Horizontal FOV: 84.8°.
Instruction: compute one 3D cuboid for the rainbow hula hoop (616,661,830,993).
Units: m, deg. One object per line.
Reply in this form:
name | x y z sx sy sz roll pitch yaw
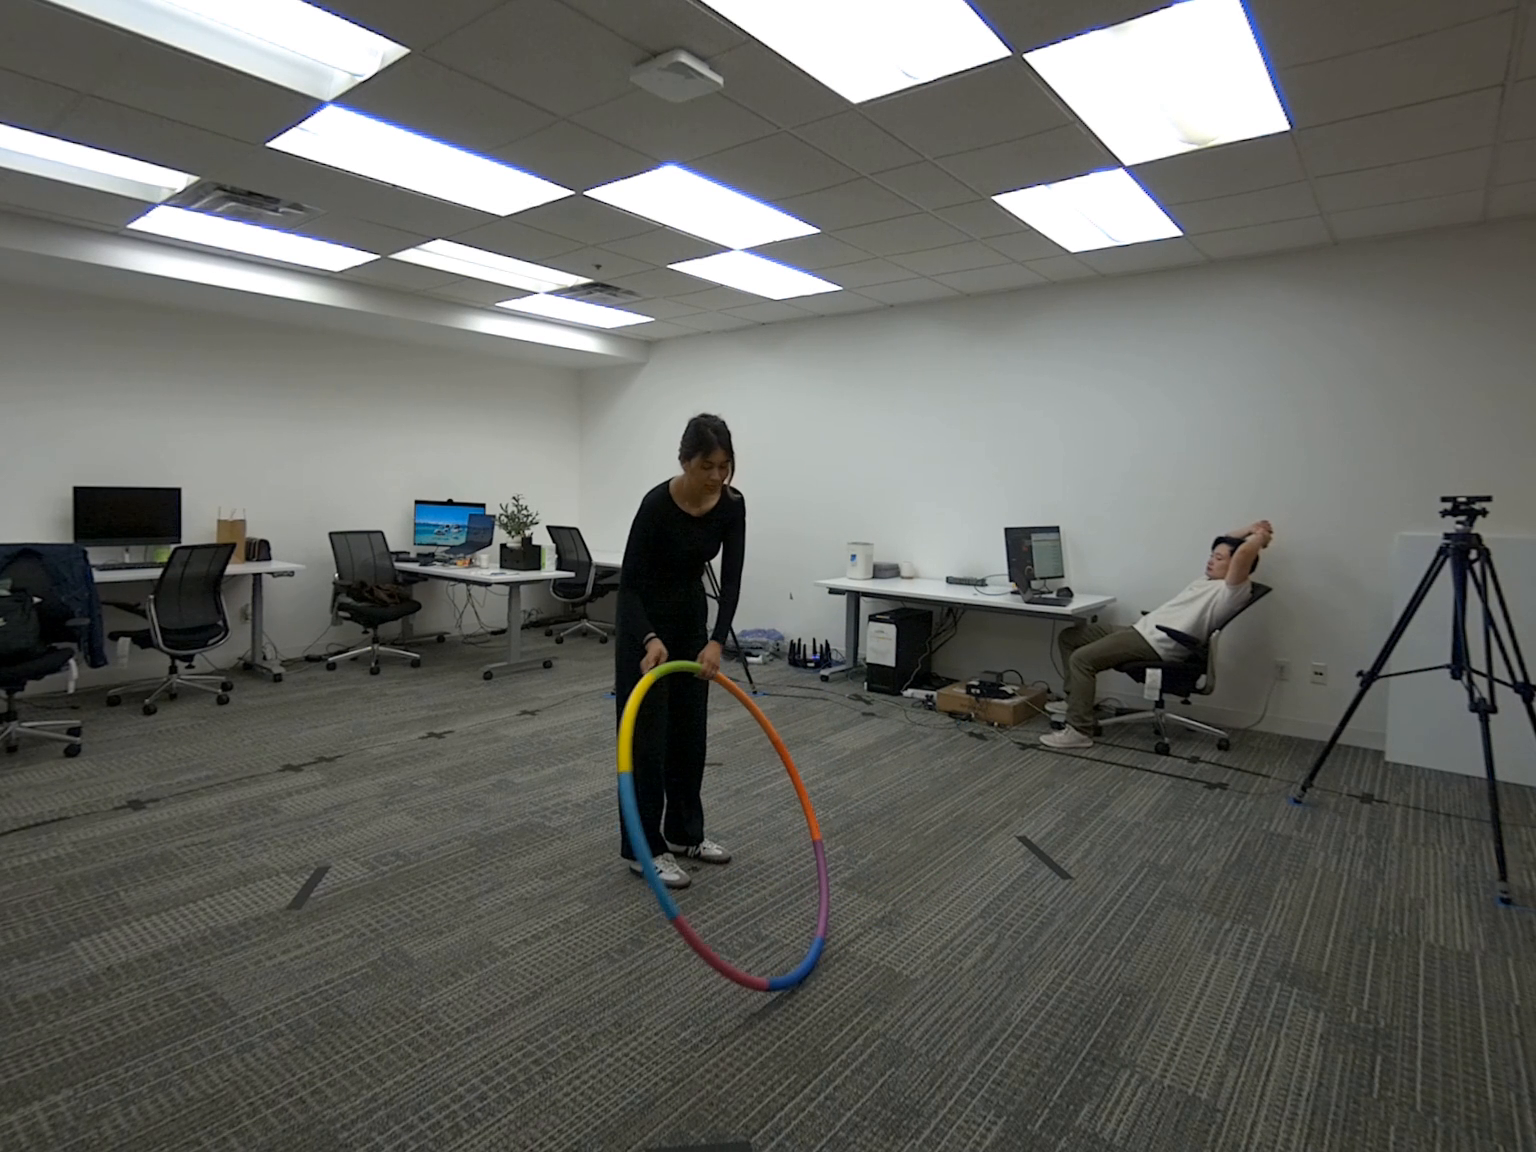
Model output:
rainbow hula hoop | -0.098 0.704 2.563 0.036 0.993 0.957 -33 -10 23
